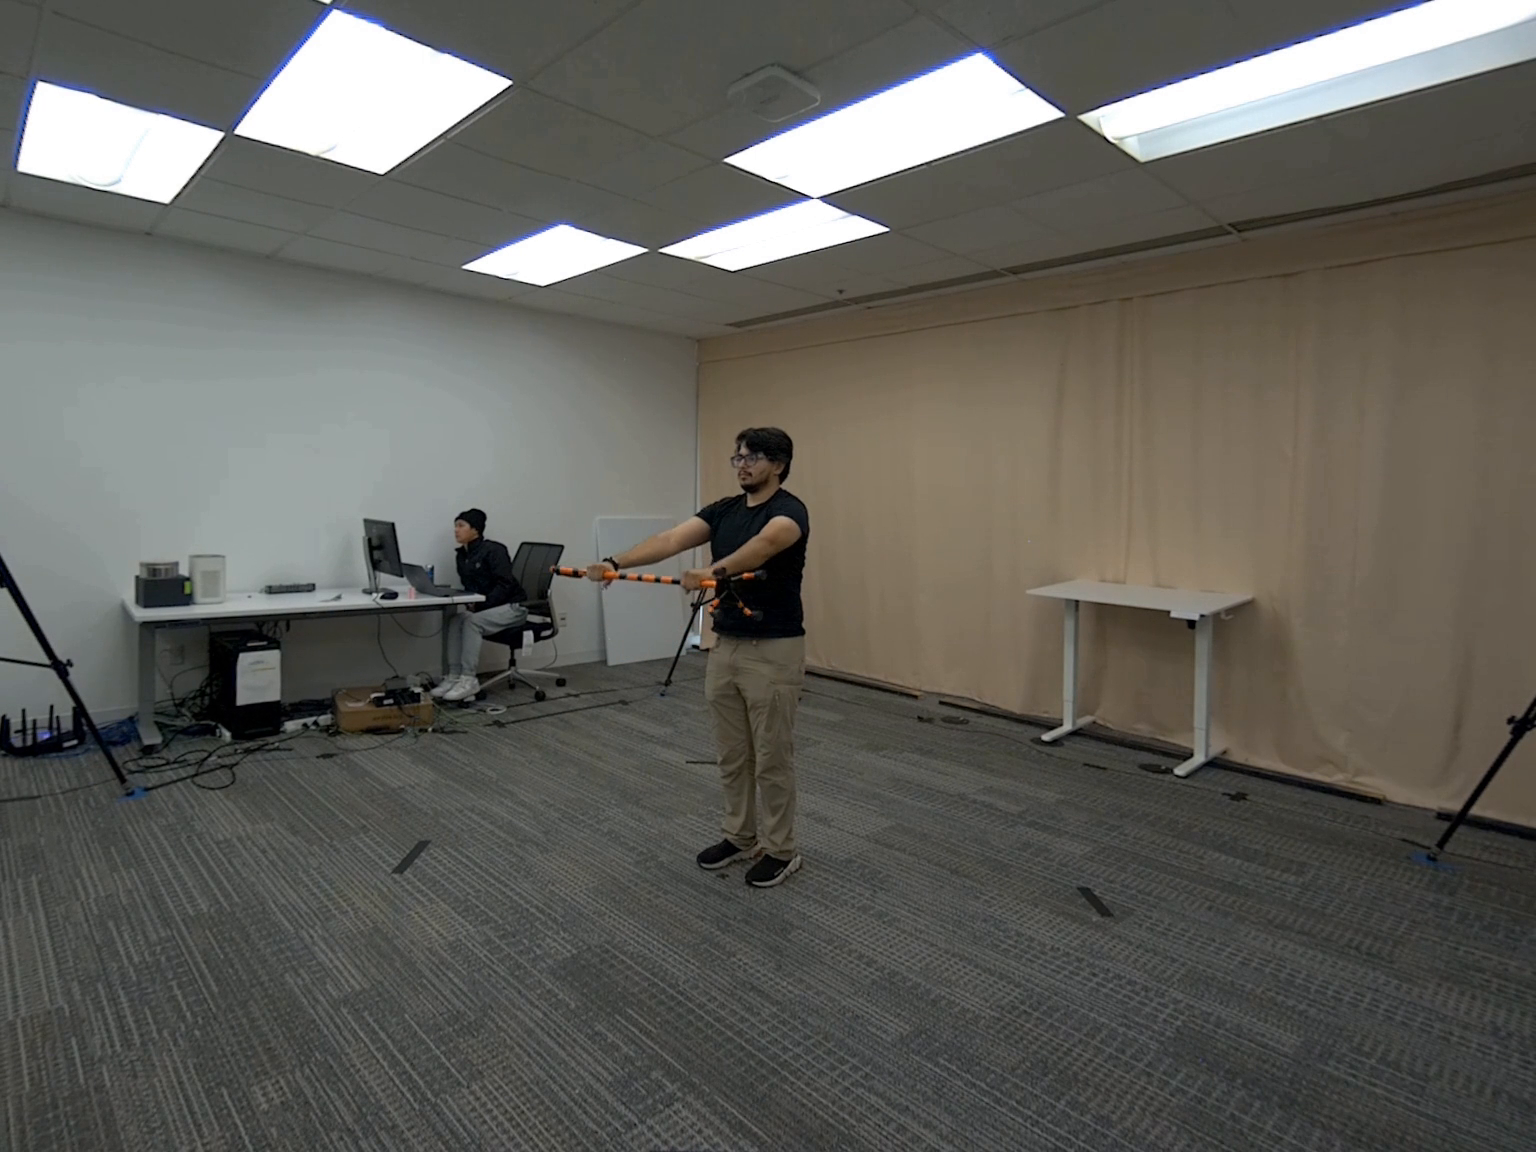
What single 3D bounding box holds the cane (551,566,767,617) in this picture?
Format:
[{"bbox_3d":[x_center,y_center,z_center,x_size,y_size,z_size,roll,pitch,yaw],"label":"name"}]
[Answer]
[{"bbox_3d":[-0.423,0.020,2.767,0.931,0.152,0.201,6,-1,43],"label":"cane"}]
